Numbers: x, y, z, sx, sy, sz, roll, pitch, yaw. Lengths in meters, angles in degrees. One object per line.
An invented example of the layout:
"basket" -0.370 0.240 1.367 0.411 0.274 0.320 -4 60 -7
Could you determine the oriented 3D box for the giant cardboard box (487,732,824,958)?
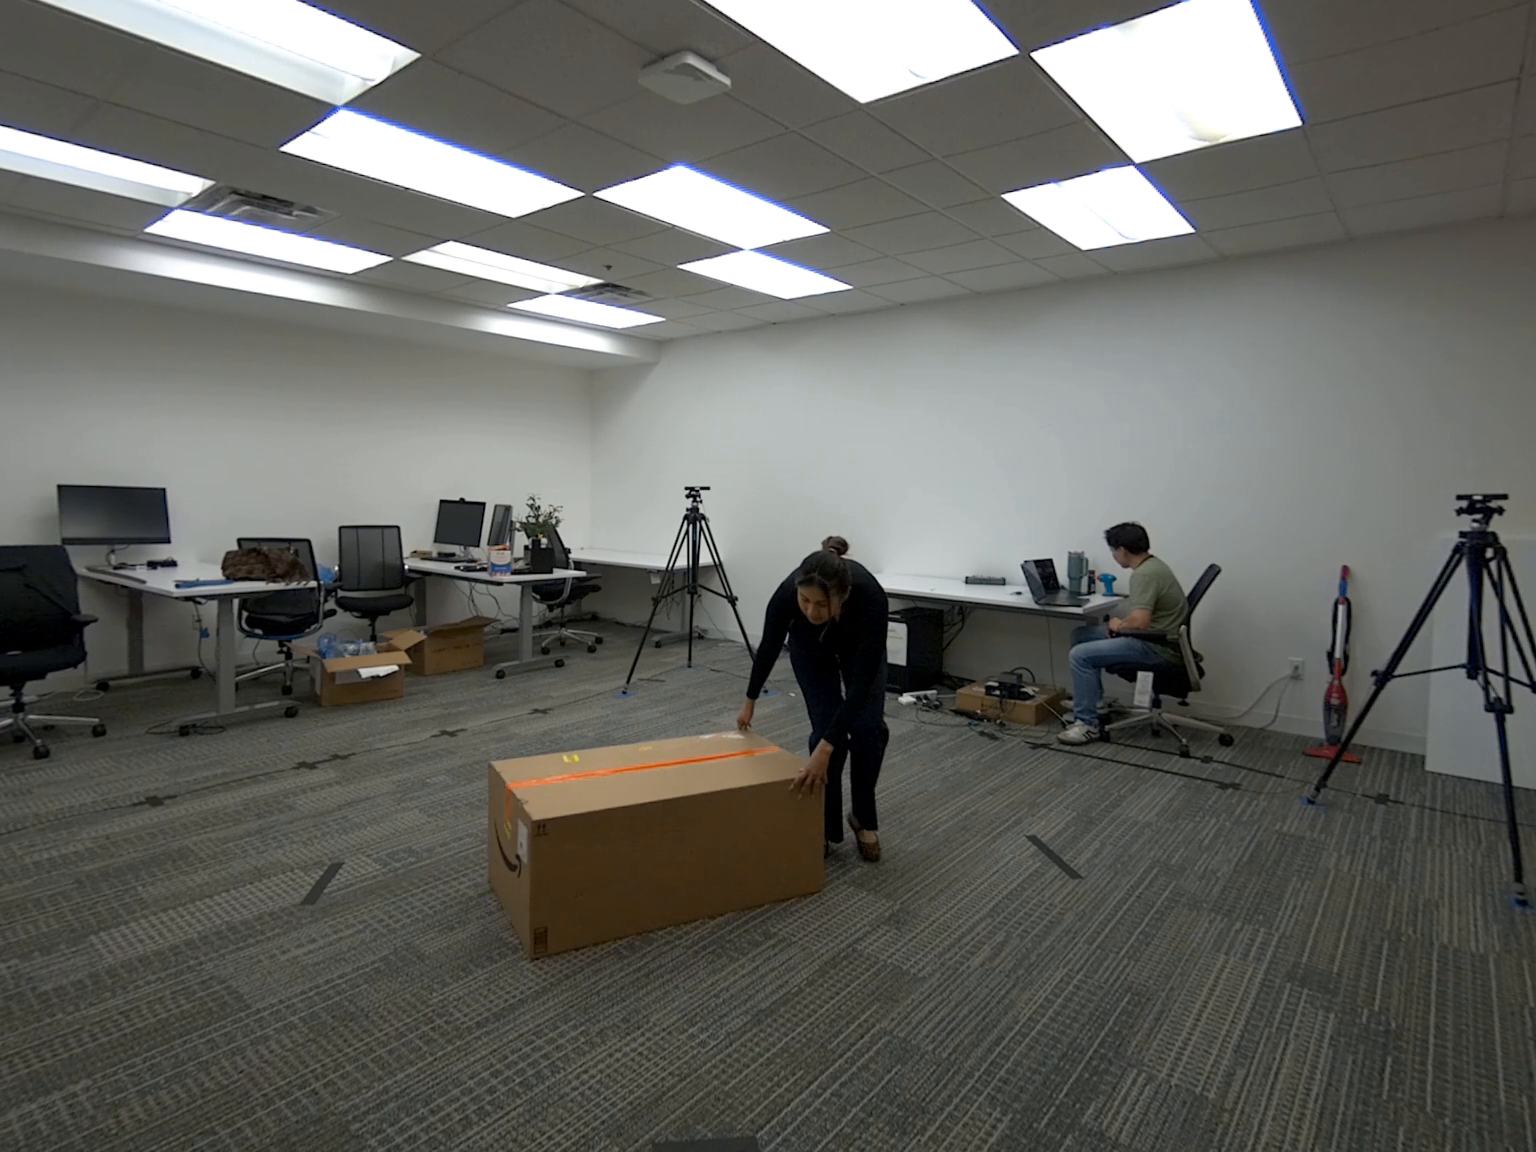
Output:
"giant cardboard box" -0.398 0.864 2.949 1.000 0.425 0.594 -2 5 -28
